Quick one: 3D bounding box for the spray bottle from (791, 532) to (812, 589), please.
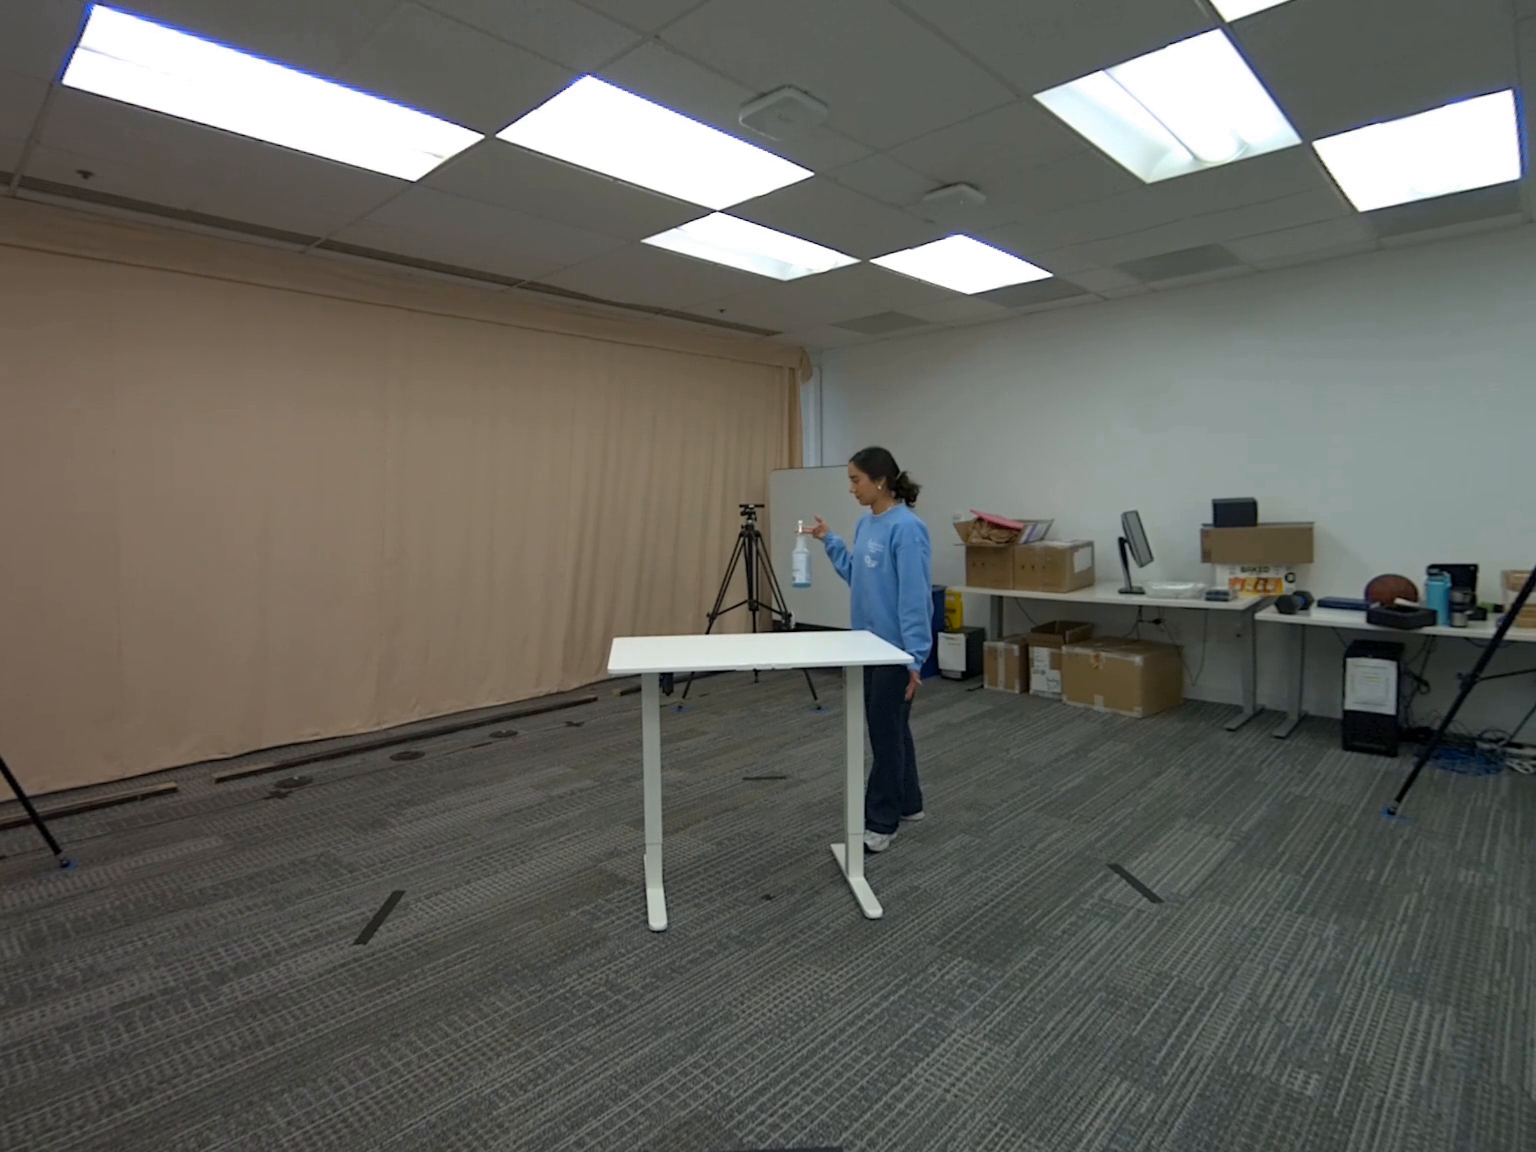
[{"bbox_3d":[0.158,-0.094,3.838,0.089,0.298,0.087,-5,-8,35],"label":"spray bottle"}]
